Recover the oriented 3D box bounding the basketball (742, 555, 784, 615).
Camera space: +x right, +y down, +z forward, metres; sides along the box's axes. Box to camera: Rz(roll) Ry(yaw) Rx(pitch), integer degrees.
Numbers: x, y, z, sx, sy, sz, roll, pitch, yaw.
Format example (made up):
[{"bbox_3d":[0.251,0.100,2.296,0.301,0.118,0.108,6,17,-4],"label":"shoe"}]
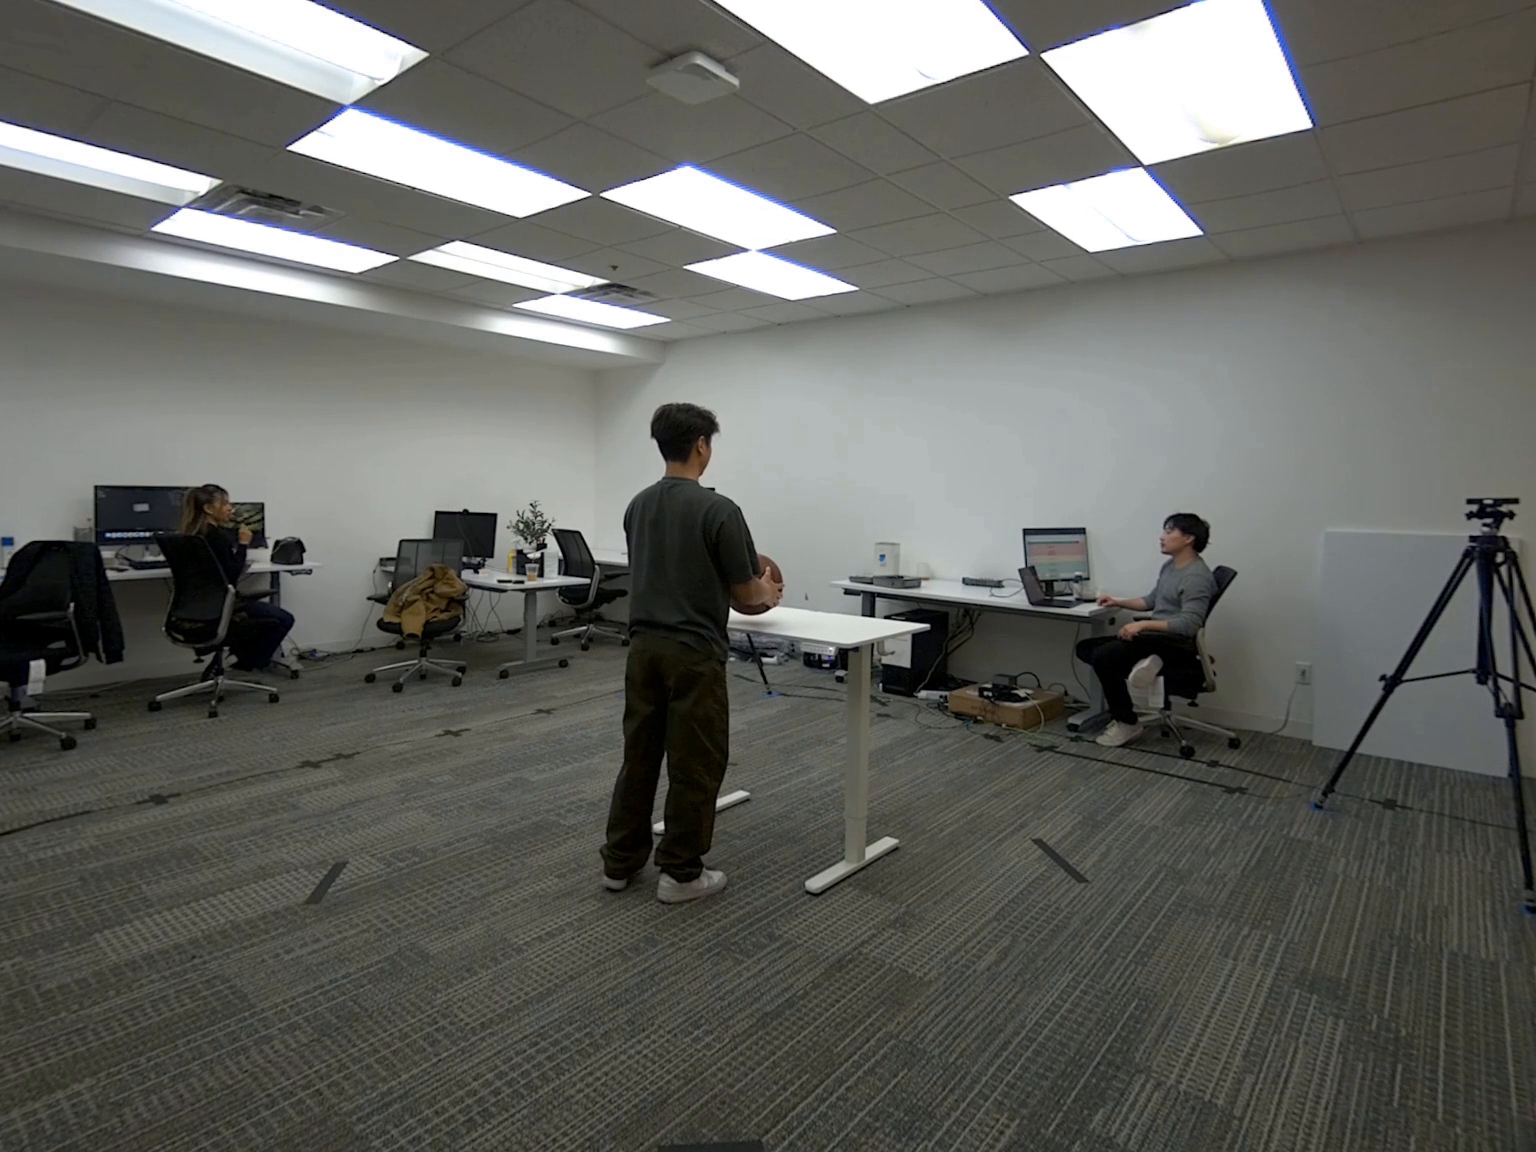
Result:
[{"bbox_3d":[-0.076,0.029,3.237,0.235,0.235,0.237,1,4,-2],"label":"basketball"}]
